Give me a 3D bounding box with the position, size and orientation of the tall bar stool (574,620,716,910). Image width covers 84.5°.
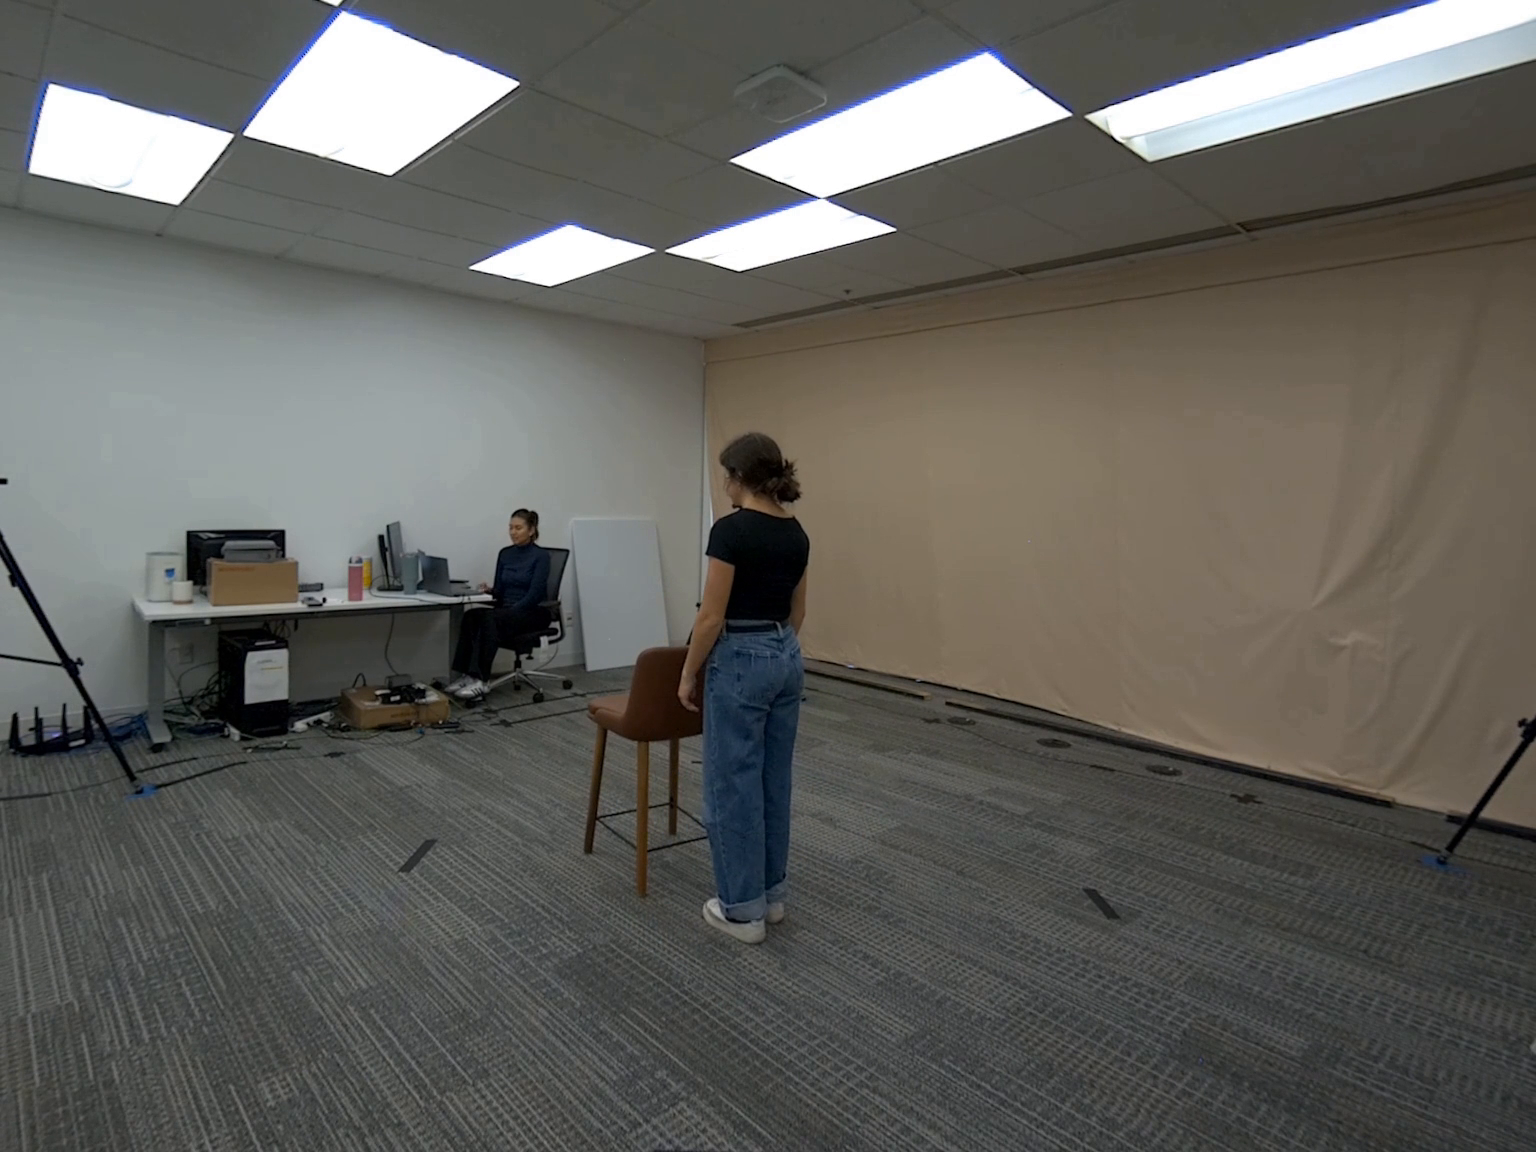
[{"bbox_3d":[-0.412,0.660,3.176,0.446,0.887,0.479,-1,6,-35],"label":"tall bar stool"}]
